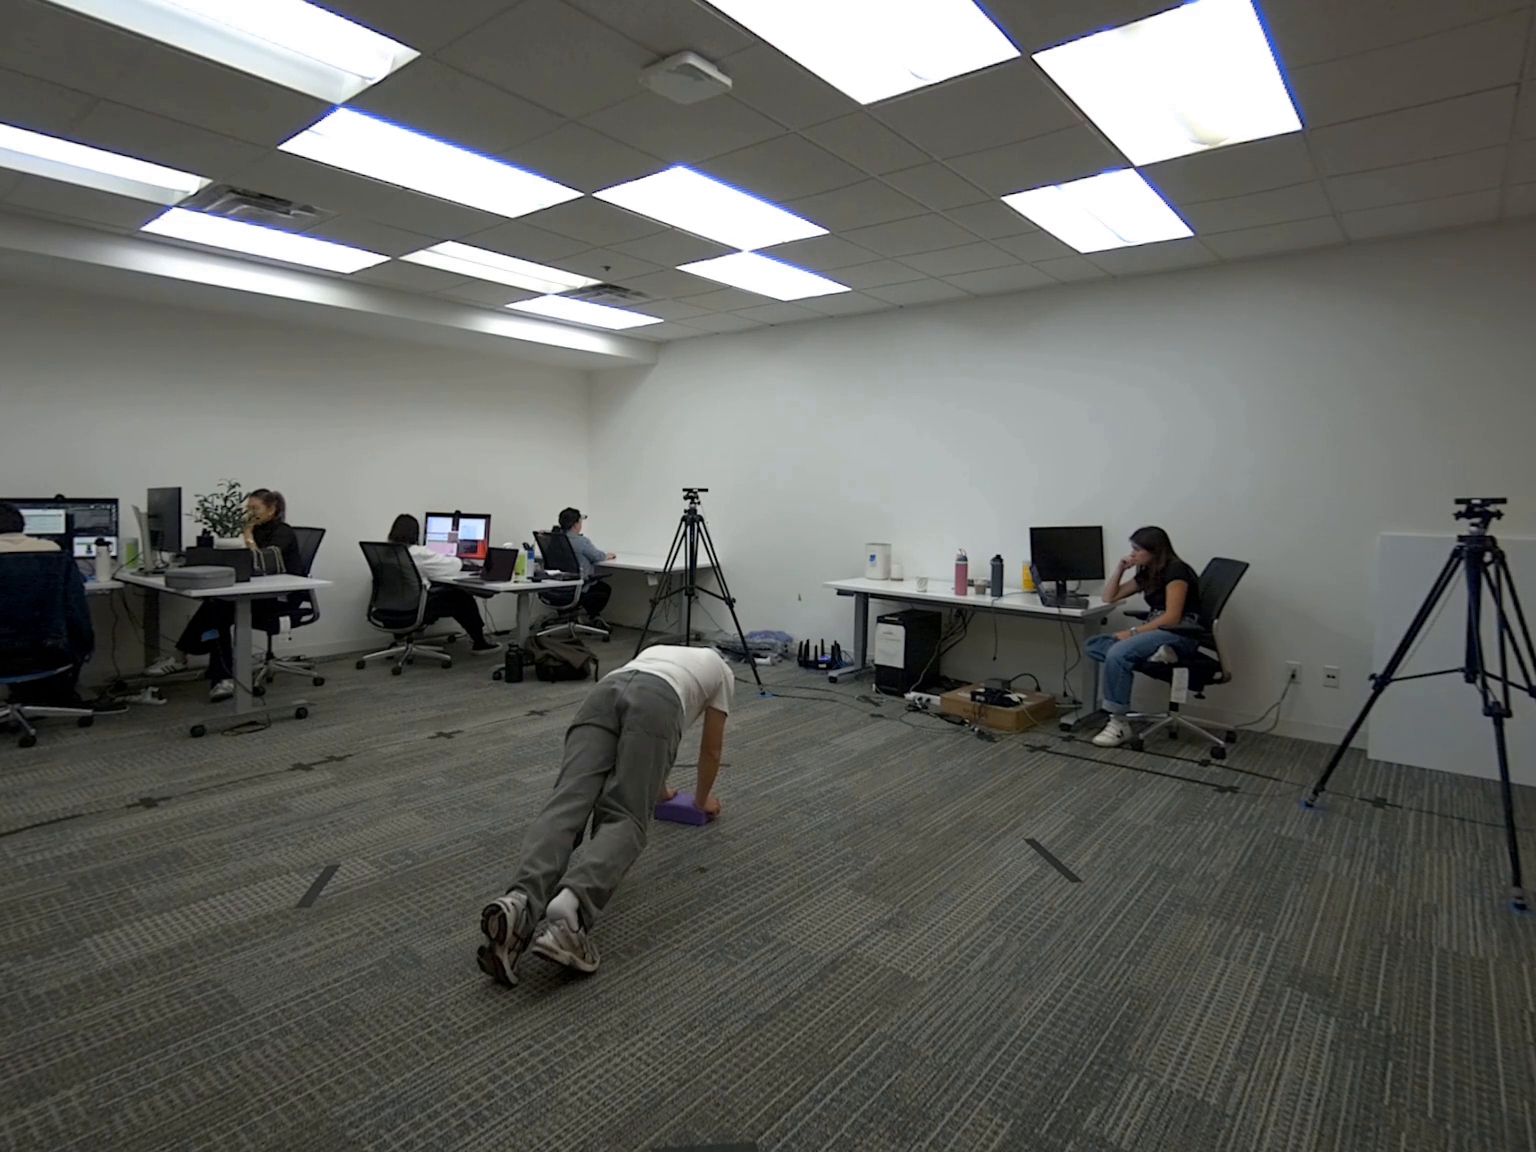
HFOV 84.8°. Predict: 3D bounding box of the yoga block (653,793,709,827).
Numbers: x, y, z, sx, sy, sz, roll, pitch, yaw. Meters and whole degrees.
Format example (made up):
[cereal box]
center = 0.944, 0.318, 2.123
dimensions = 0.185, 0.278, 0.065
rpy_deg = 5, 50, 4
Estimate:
[yoga block]
center = -0.360, 0.983, 3.617
dimensions = 0.234, 0.076, 0.146
rpy_deg = 2, 2, 21
